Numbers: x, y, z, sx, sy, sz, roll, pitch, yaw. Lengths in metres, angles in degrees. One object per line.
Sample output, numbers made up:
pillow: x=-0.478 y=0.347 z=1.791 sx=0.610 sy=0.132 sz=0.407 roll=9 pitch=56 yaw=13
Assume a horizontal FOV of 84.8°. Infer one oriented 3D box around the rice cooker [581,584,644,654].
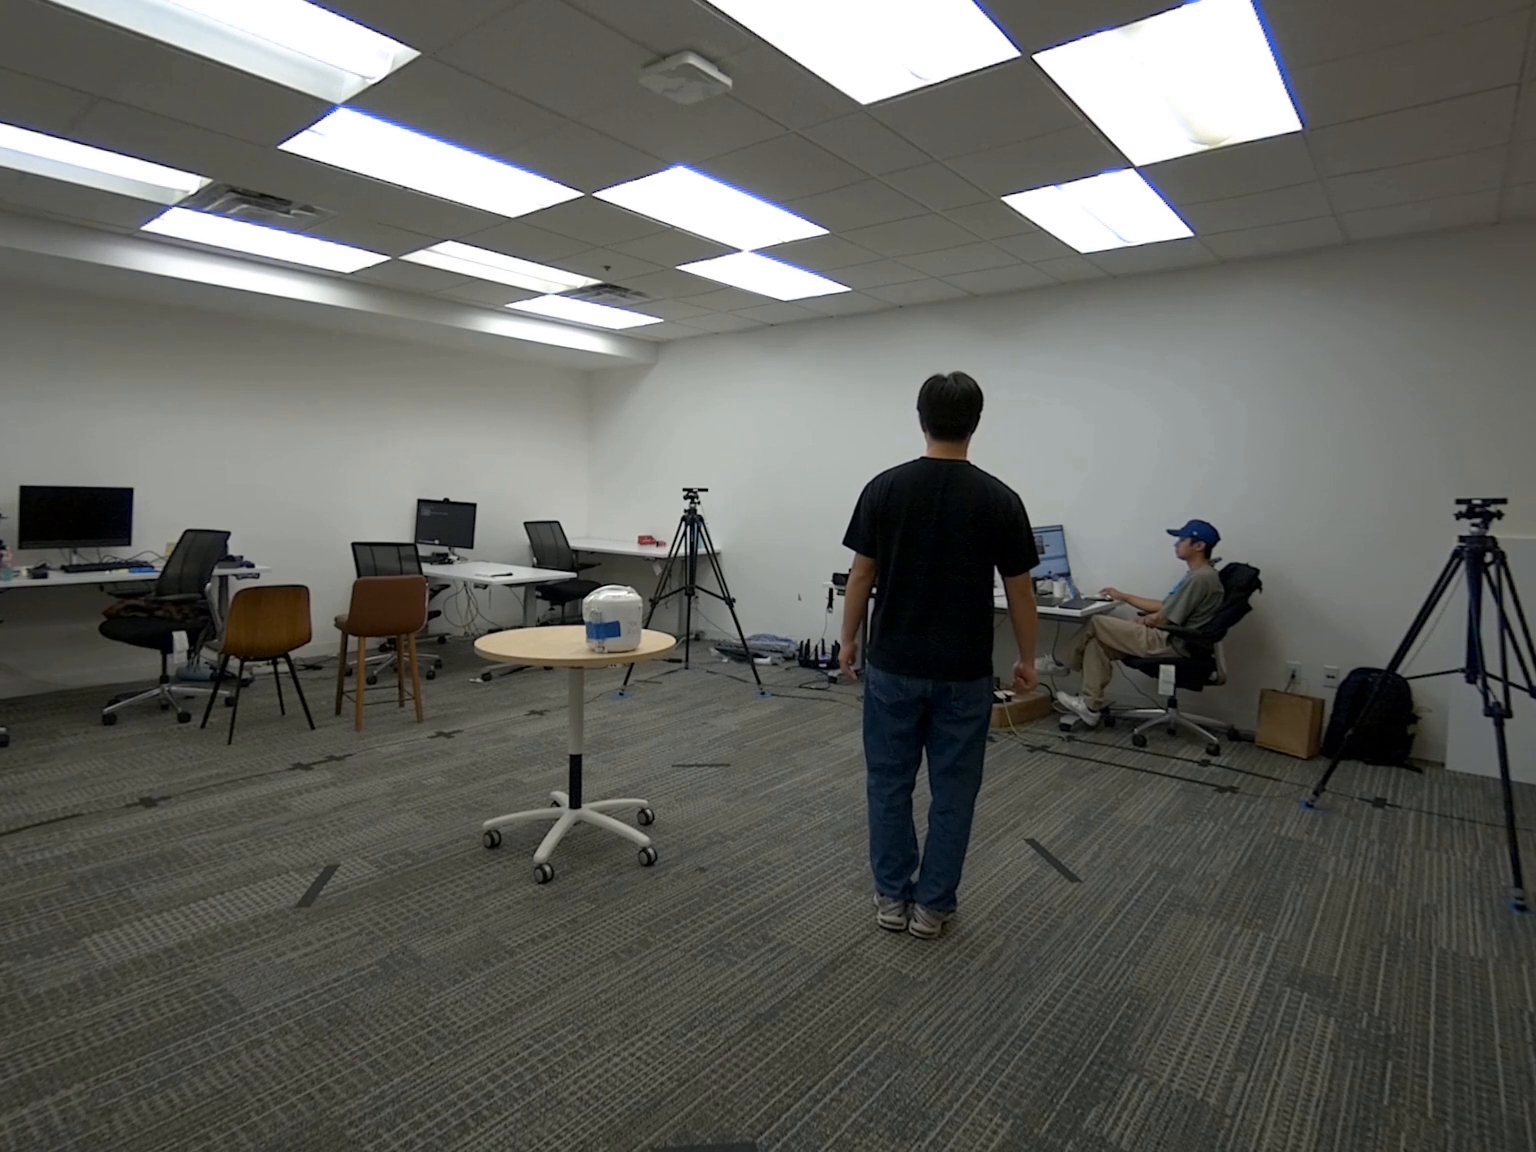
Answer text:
rice cooker: x=-0.579 y=0.149 z=3.114 sx=0.215 sy=0.232 sz=0.223 roll=0 pitch=5 yaw=-24
